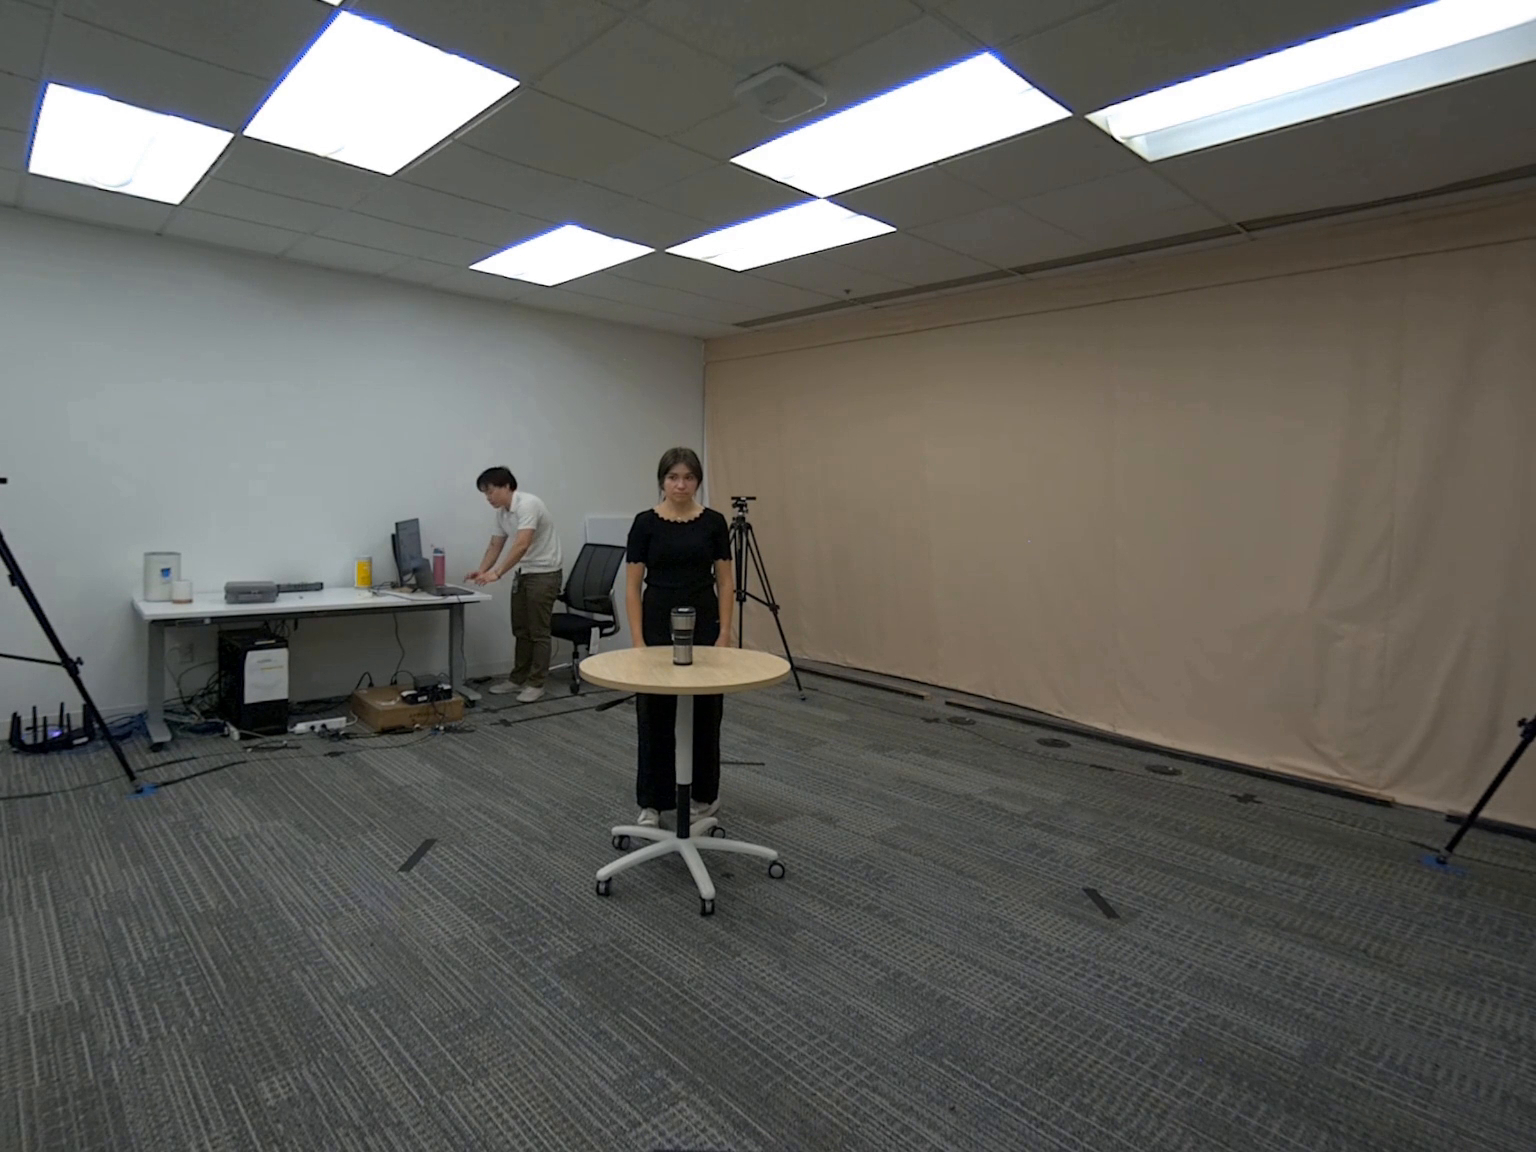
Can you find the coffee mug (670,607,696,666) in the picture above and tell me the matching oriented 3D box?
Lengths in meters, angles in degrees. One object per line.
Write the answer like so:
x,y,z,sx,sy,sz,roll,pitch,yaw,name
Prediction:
-0.310,0.223,3.071,0.090,0.202,0.119,-2,4,39,coffee mug
